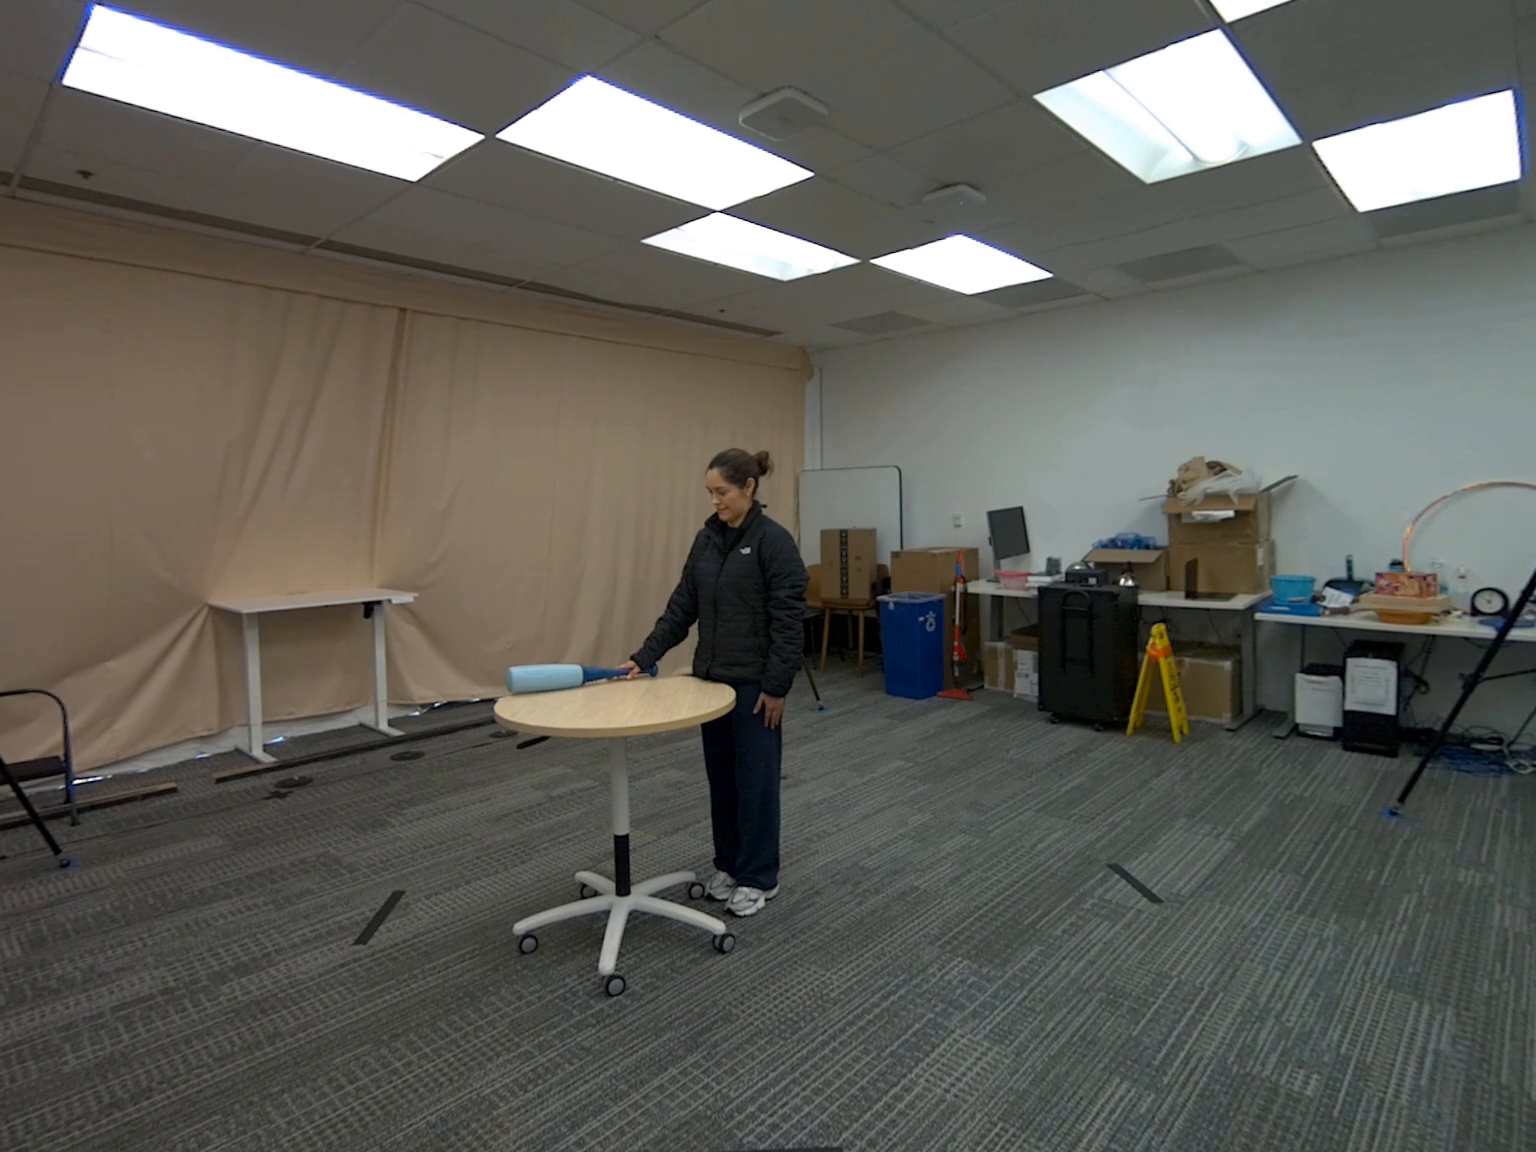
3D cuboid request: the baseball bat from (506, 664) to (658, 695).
[{"bbox_3d":[-0.617,0.347,2.913,0.527,0.089,0.092,0,3,-32],"label":"baseball bat"}]
